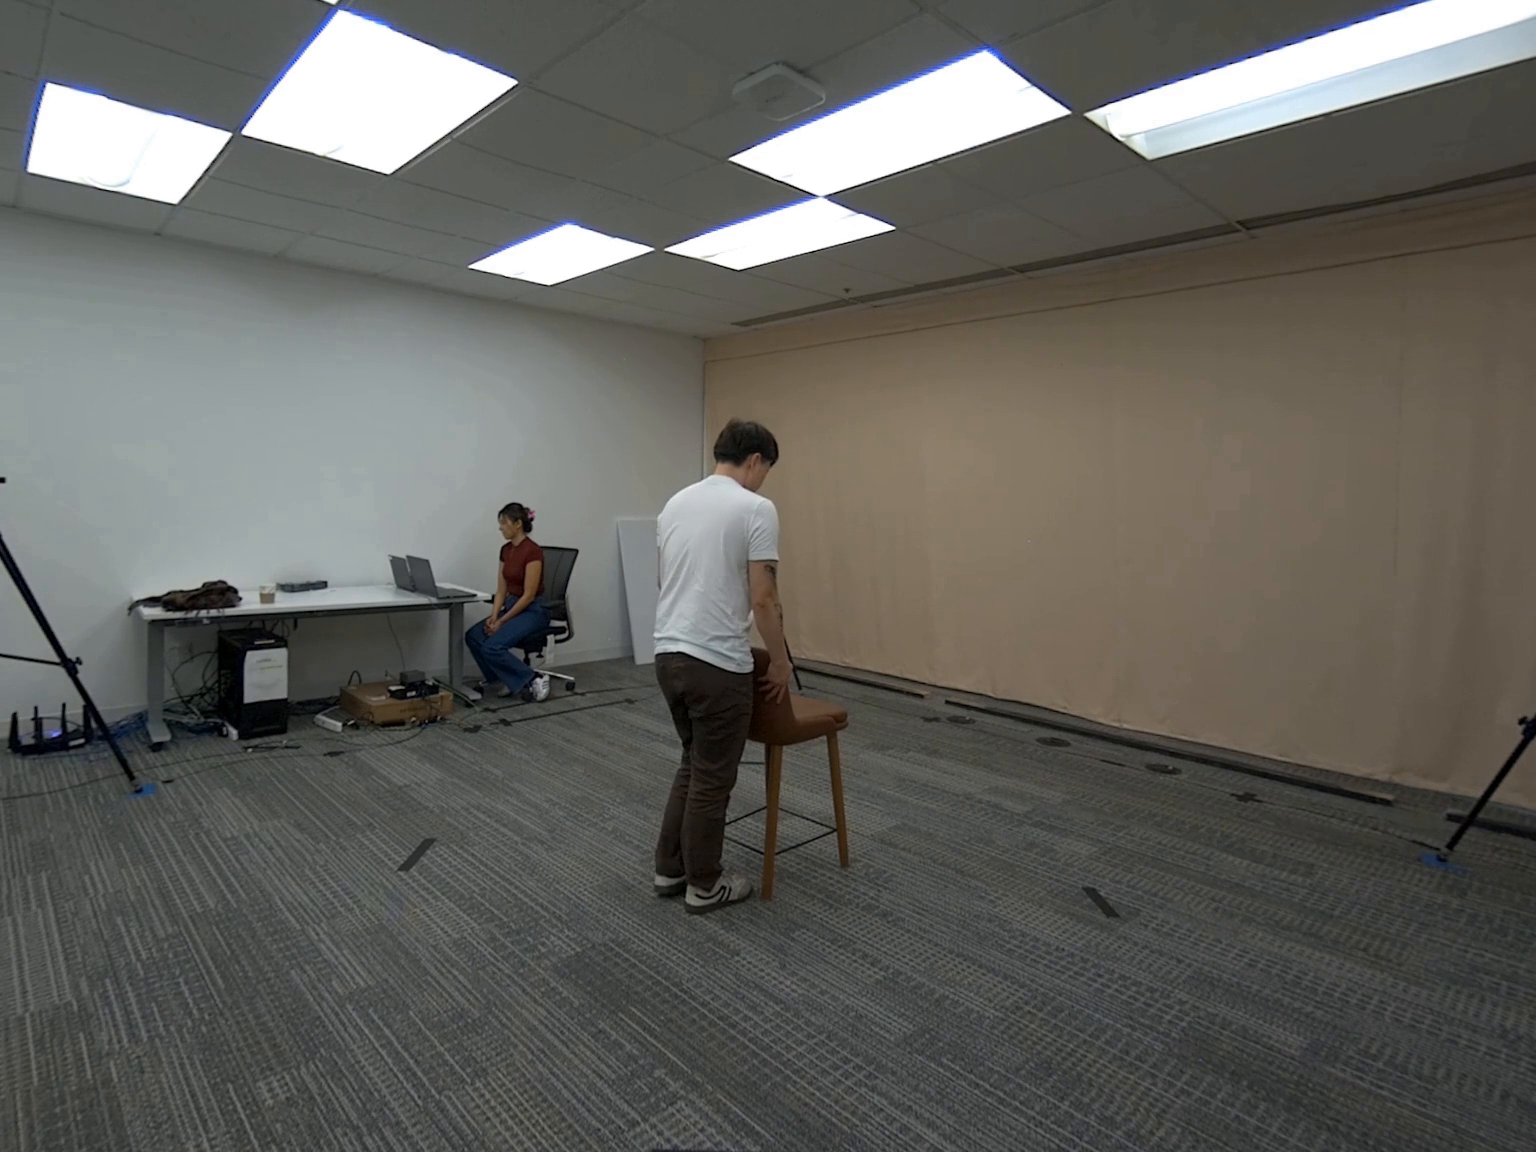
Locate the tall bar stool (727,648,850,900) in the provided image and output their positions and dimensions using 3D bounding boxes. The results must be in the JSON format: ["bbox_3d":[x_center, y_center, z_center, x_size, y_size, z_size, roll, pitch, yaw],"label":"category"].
[{"bbox_3d":[0.011,0.661,3.157,0.468,0.886,0.457,4,7,44],"label":"tall bar stool"}]
